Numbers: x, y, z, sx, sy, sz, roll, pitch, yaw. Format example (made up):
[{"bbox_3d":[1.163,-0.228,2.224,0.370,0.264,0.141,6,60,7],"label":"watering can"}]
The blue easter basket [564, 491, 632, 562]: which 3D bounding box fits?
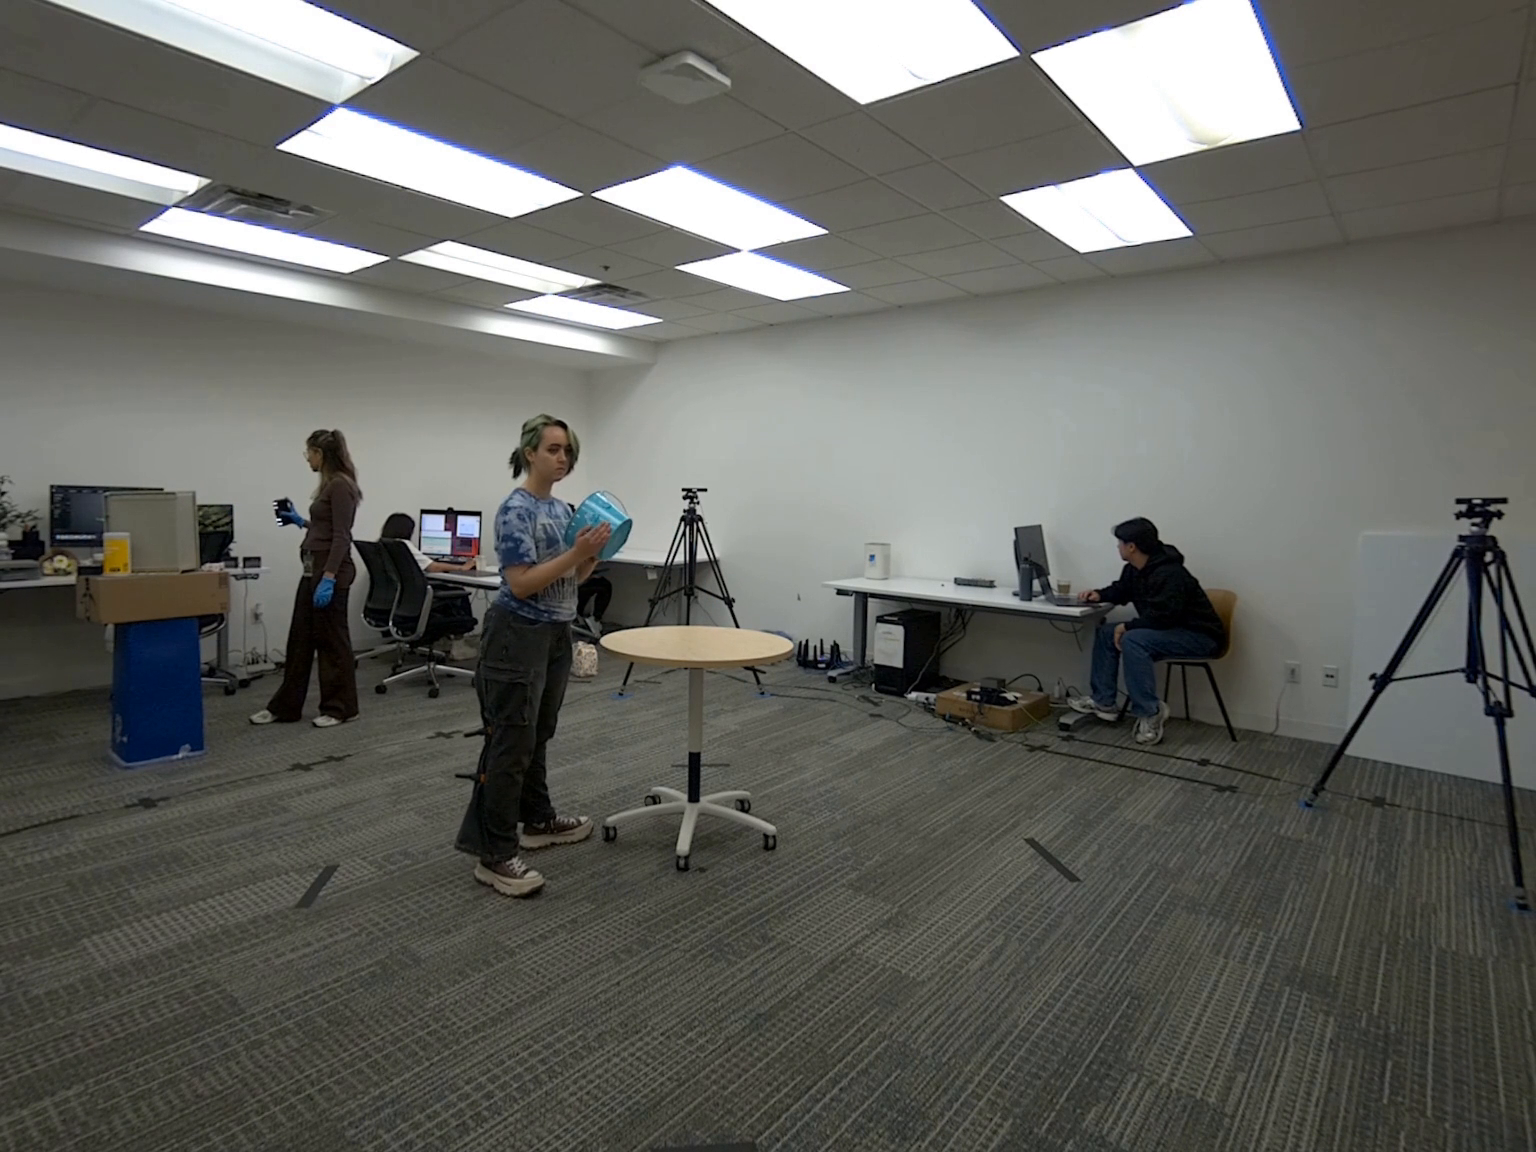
[{"bbox_3d":[-0.618,-0.171,3.067,0.158,0.243,0.241,32,10,8],"label":"blue easter basket"}]
